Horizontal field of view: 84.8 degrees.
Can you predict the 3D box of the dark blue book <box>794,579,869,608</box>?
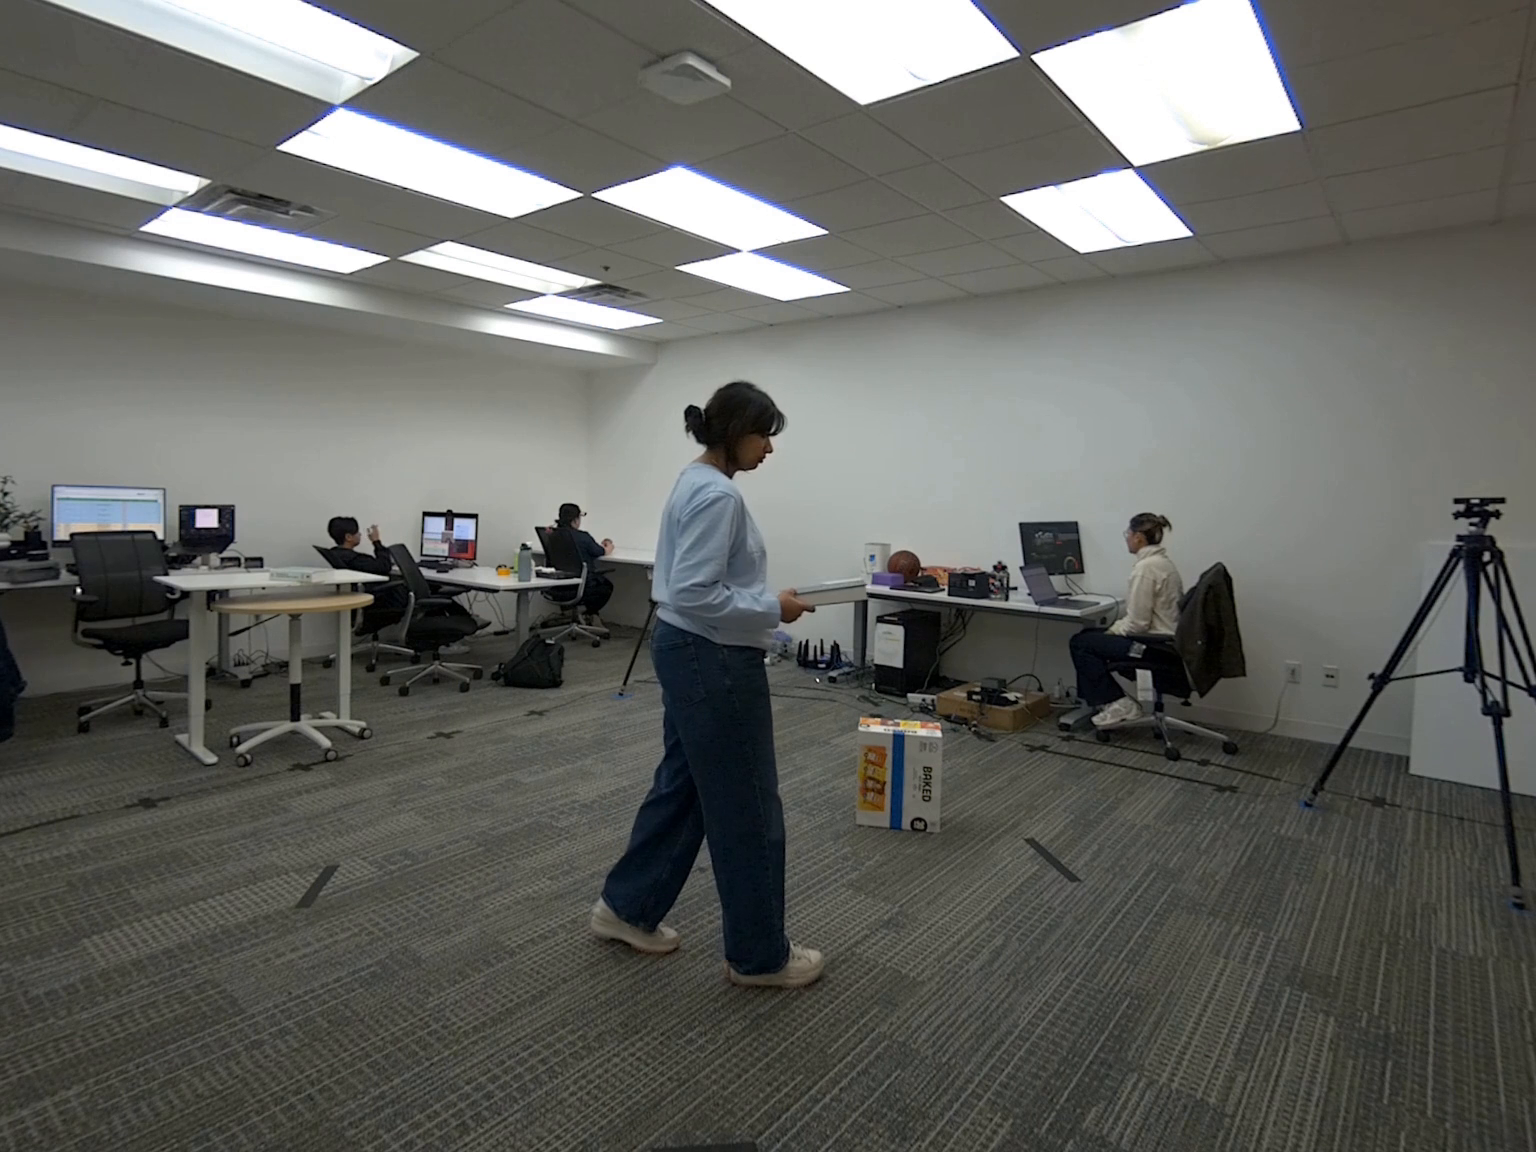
[{"bbox_3d":[0.148,0.050,2.423,0.244,0.045,0.165,-6,6,-4],"label":"dark blue book"}]
